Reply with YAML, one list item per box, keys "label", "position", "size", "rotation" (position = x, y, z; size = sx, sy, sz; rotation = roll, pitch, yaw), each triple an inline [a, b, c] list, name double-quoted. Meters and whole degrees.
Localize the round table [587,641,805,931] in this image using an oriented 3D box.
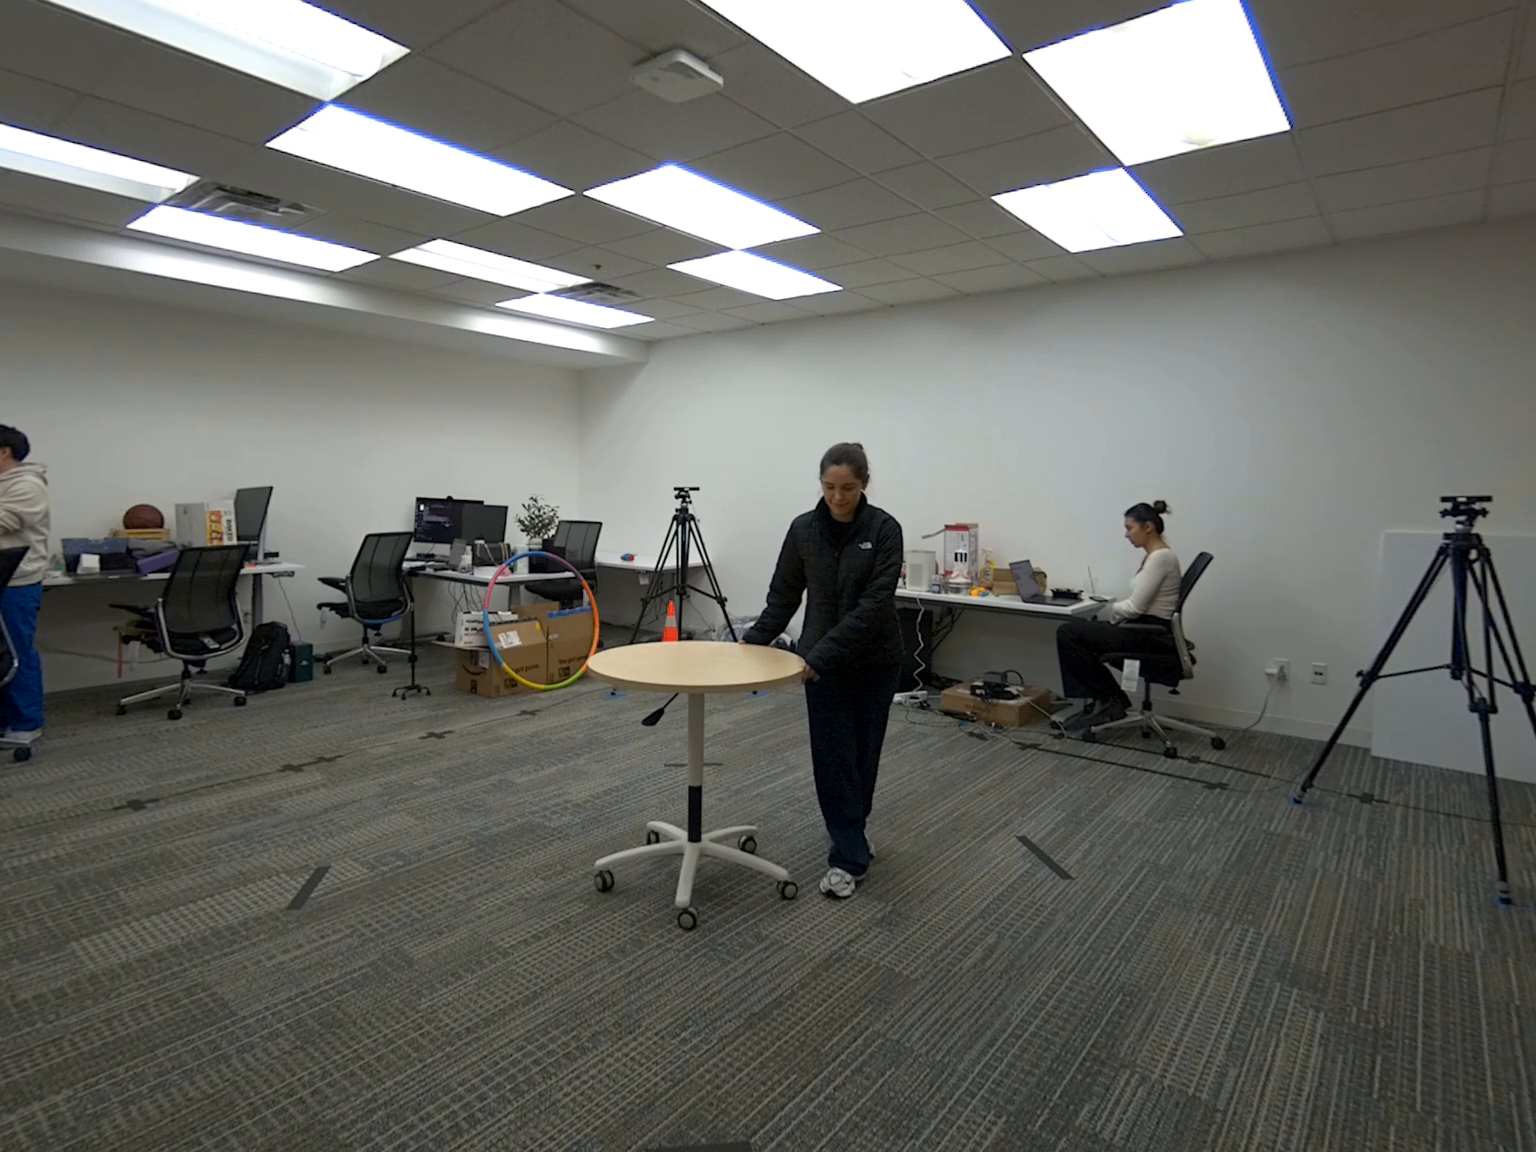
- label: "round table"
  position: [-0.261, 0.681, 3.018]
  size: [0.784, 0.784, 0.789]
  rotation: [1, 4, -2]
